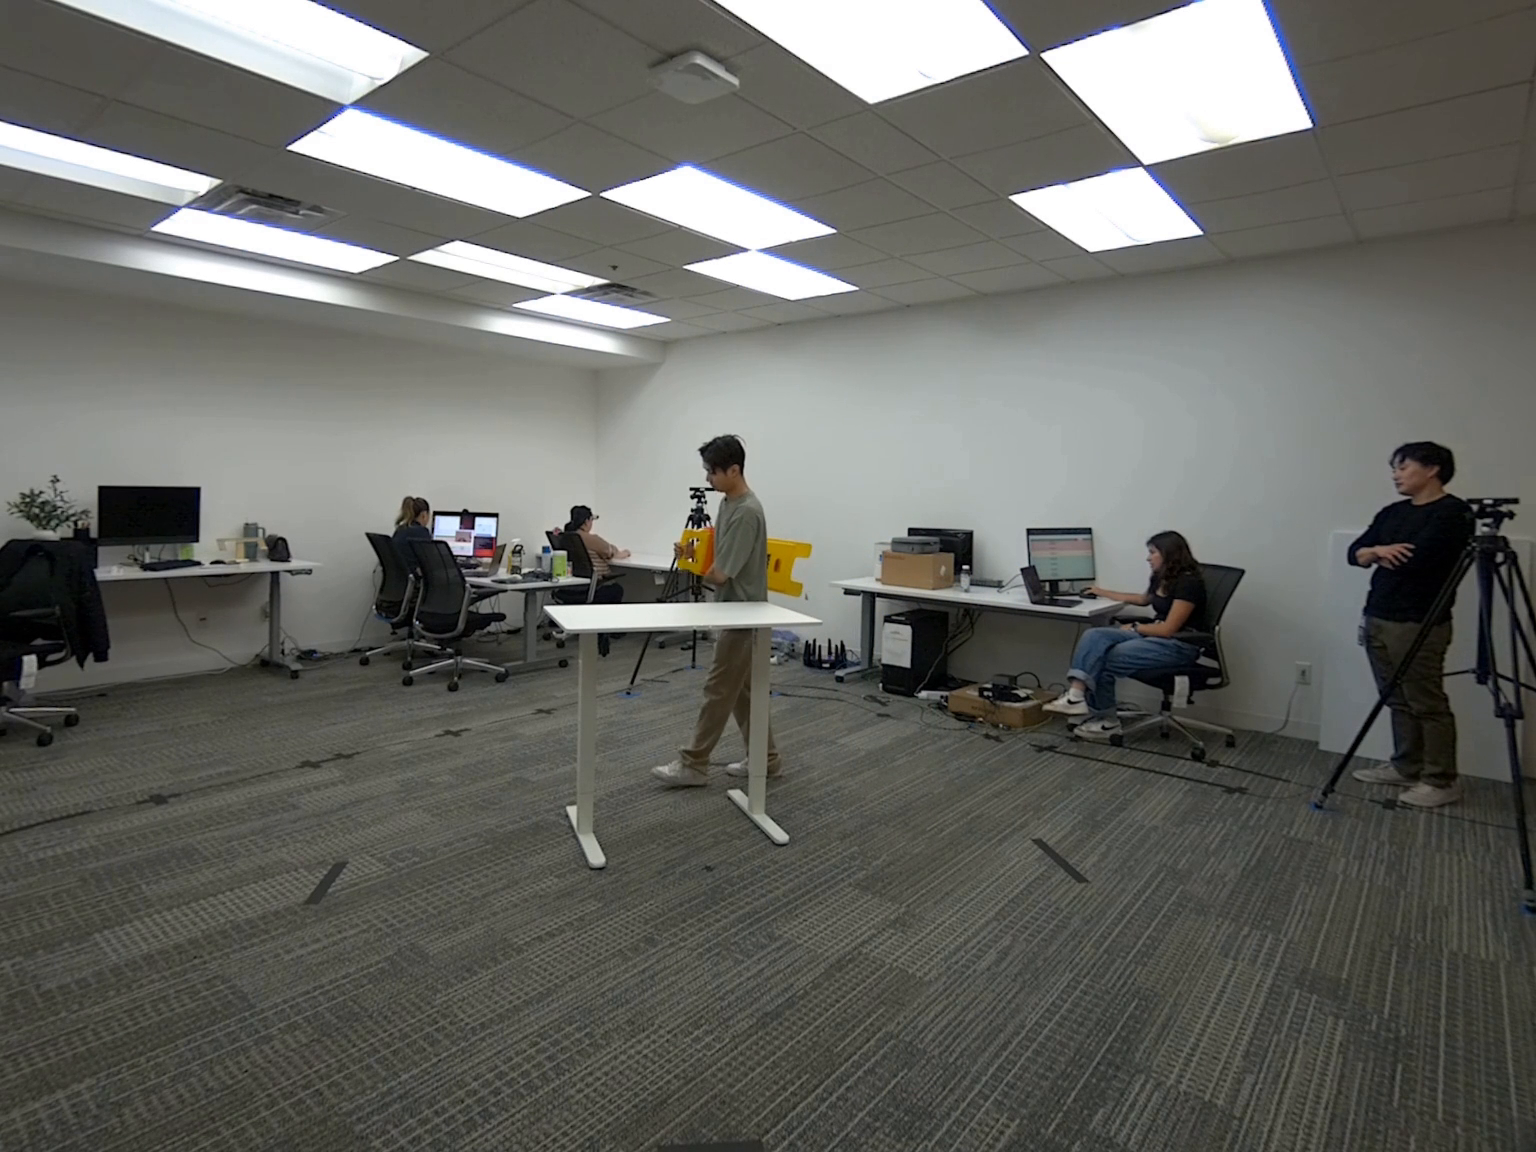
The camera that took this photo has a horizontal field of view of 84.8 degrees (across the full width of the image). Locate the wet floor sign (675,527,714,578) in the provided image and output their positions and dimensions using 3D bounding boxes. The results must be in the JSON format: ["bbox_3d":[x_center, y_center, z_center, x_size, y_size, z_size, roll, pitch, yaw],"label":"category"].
[{"bbox_3d":[-0.134,-0.078,4.235,0.631,0.281,0.297,9,4,-20],"label":"wet floor sign"}]
